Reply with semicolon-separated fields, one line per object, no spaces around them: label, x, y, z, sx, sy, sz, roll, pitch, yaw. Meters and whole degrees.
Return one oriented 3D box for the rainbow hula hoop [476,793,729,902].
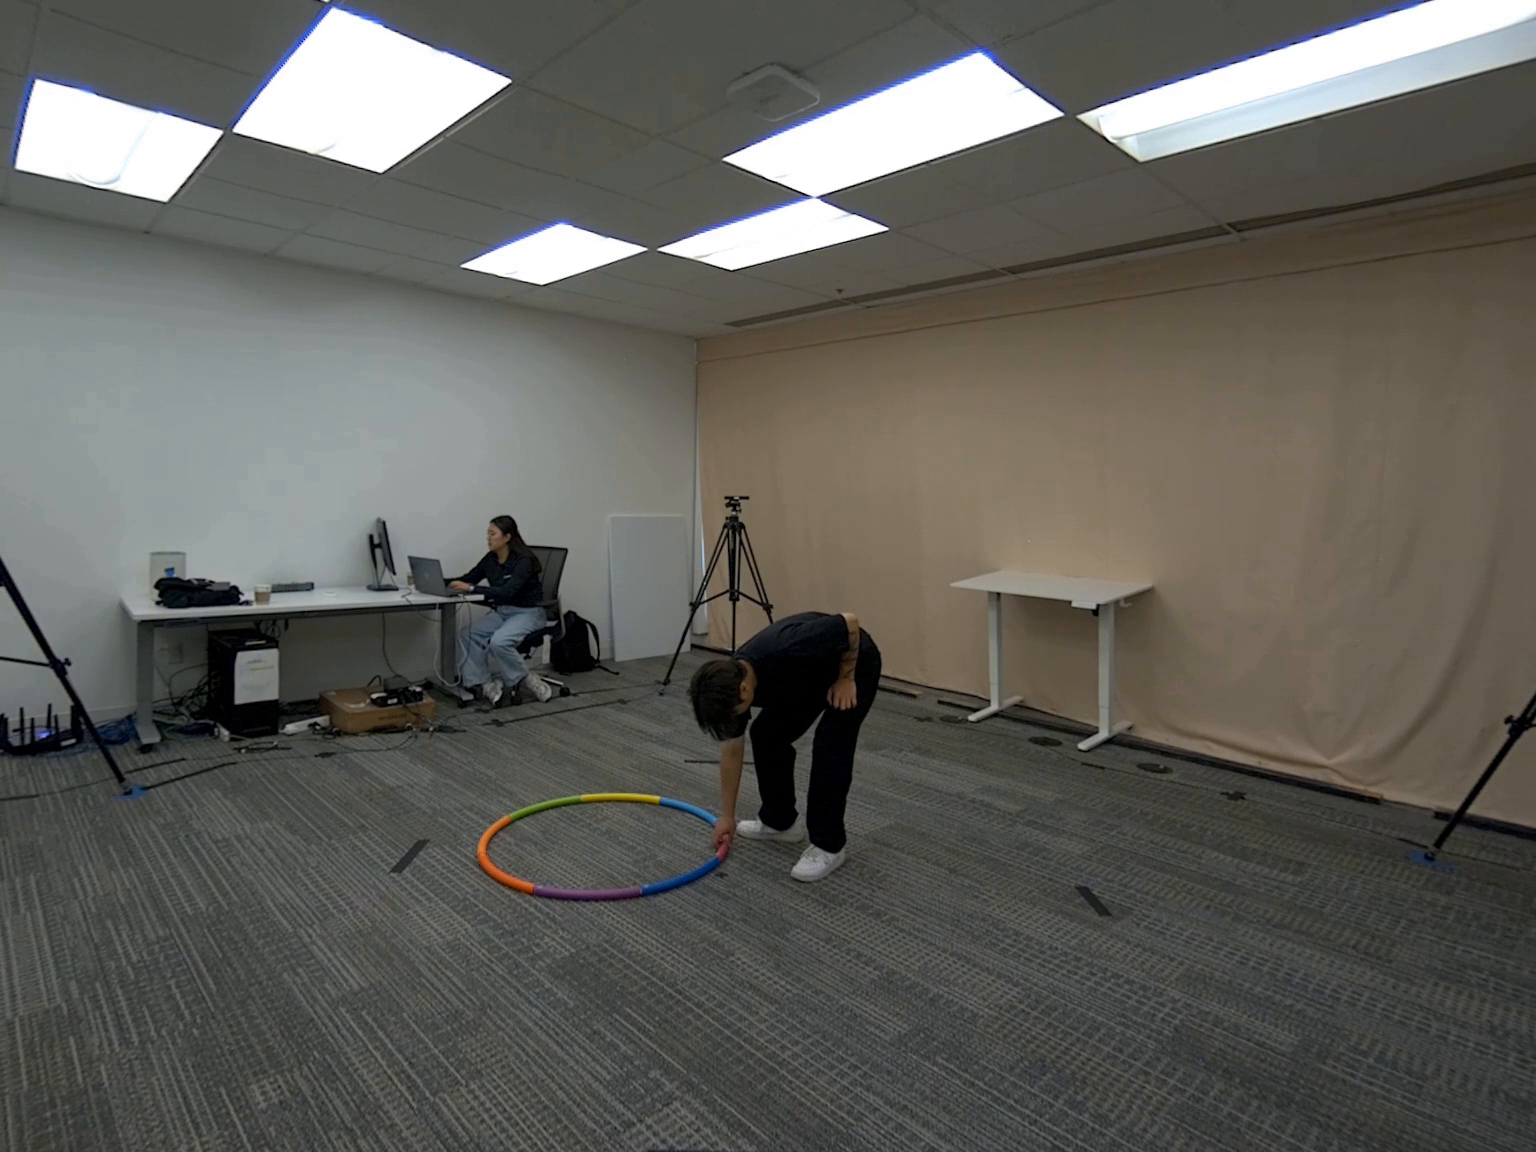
rainbow hula hoop;-0.642;1.039;3.359;0.978;0.035;0.982;2;5;-1
